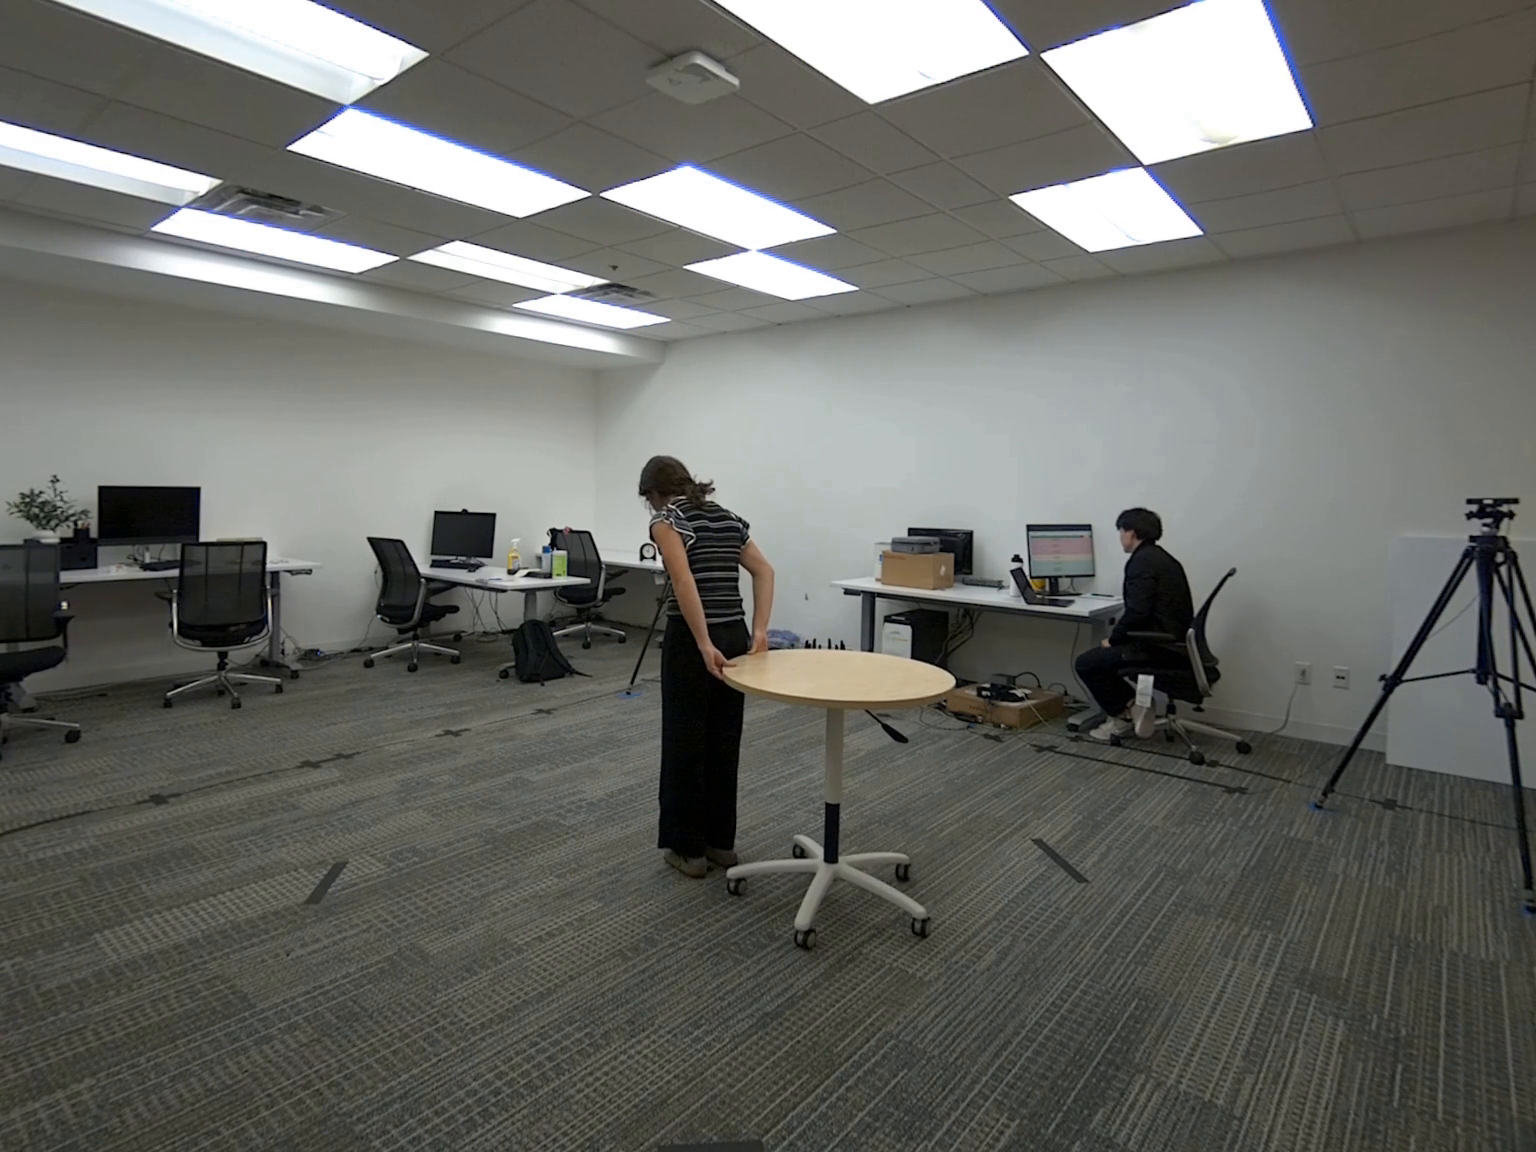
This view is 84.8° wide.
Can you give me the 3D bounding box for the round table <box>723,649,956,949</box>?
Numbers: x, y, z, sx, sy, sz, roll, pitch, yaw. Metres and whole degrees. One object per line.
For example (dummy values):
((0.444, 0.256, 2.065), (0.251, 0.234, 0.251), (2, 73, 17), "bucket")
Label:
((0.198, 0.705, 2.863), (0.784, 0.784, 0.789), (2, 5, -2), "round table")
